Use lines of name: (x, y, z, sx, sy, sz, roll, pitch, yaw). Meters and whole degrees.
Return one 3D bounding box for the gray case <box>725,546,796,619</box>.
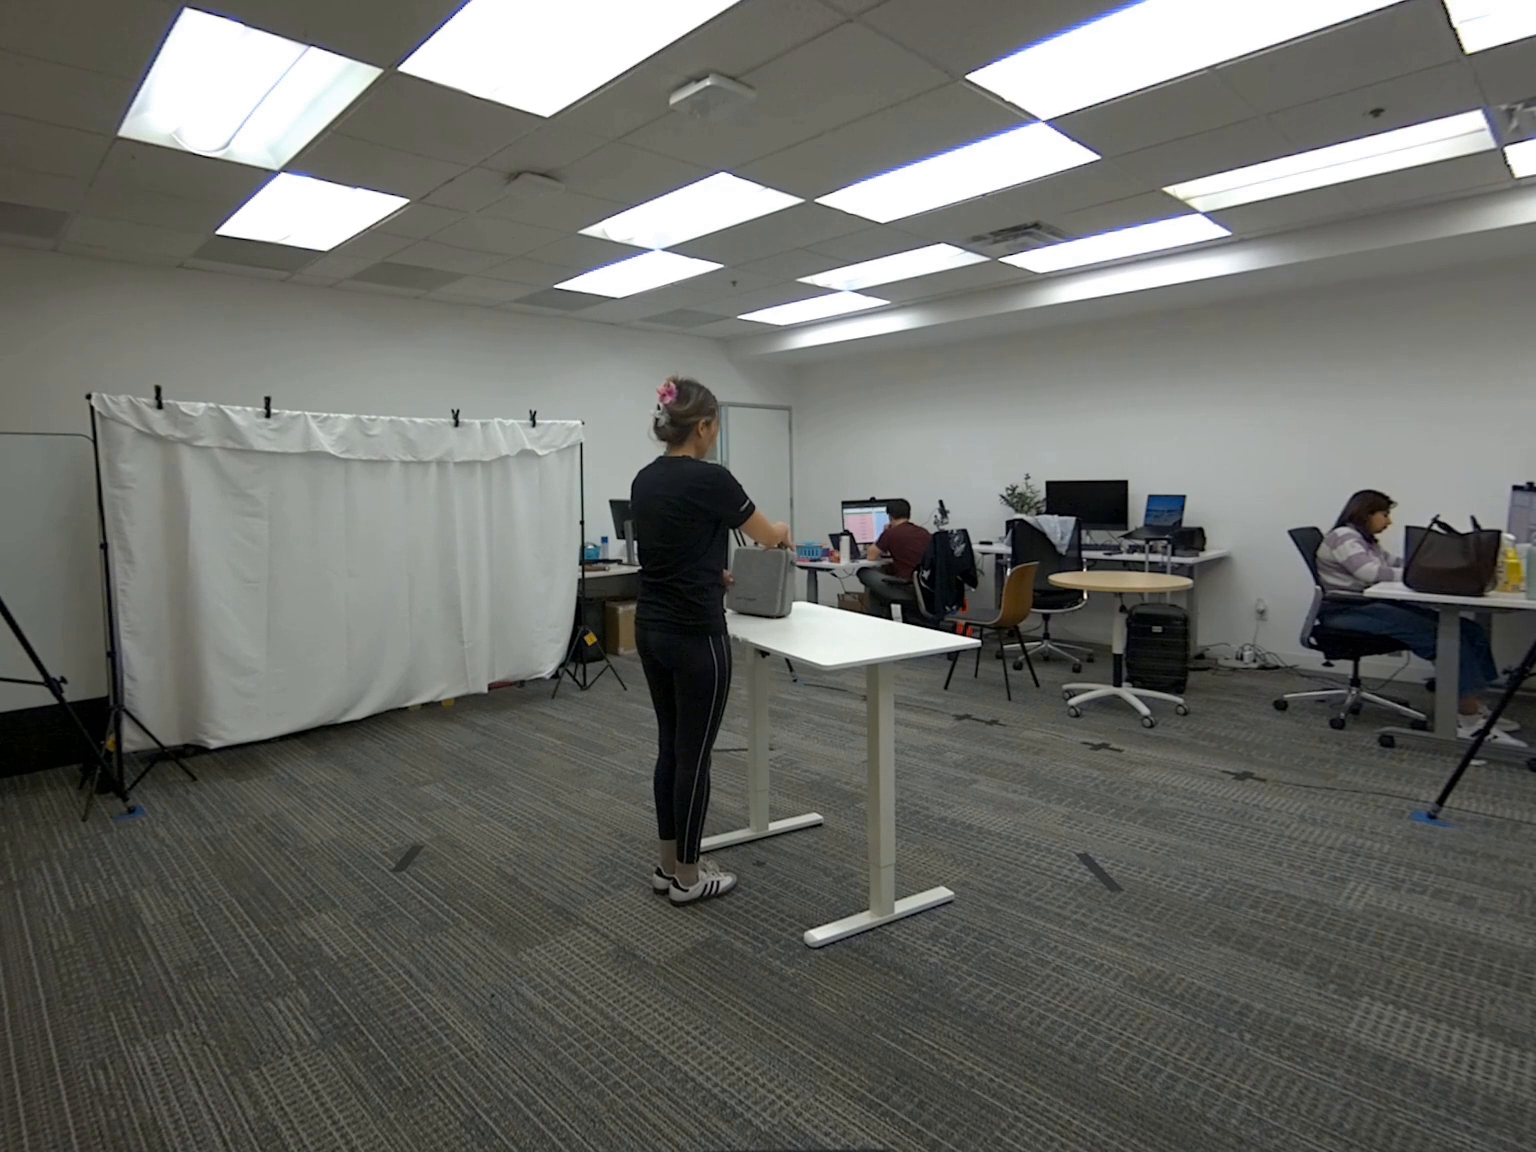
gray case: (-0.019, 0.016, 3.229, 0.265, 0.261, 0.101, 6, -3, 43)
